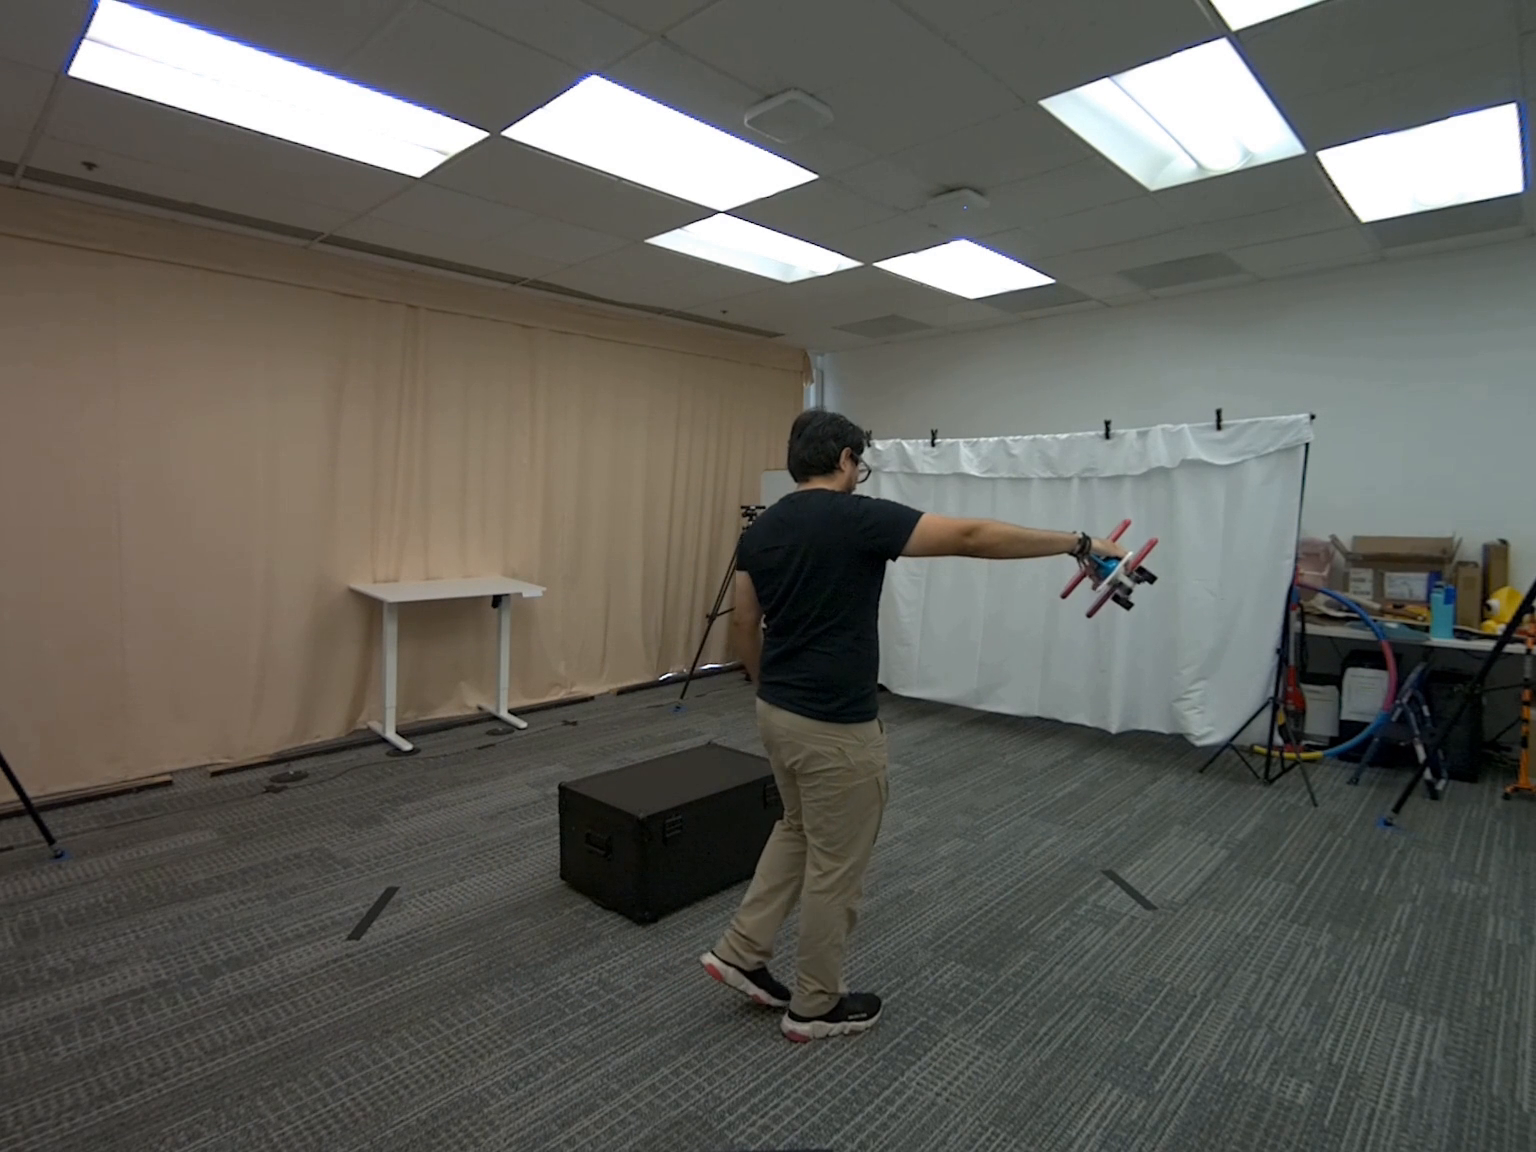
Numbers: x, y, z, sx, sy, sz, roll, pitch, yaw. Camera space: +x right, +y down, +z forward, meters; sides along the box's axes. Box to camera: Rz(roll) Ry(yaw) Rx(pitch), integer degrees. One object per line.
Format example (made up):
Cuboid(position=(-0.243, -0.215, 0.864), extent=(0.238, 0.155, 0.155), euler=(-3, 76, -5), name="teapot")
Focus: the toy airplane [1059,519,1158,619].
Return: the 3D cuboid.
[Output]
Cuboid(position=(0.878, -0.018, 2.074), extent=(0.161, 0.250, 0.253), euler=(43, -13, 27), name="toy airplane")
